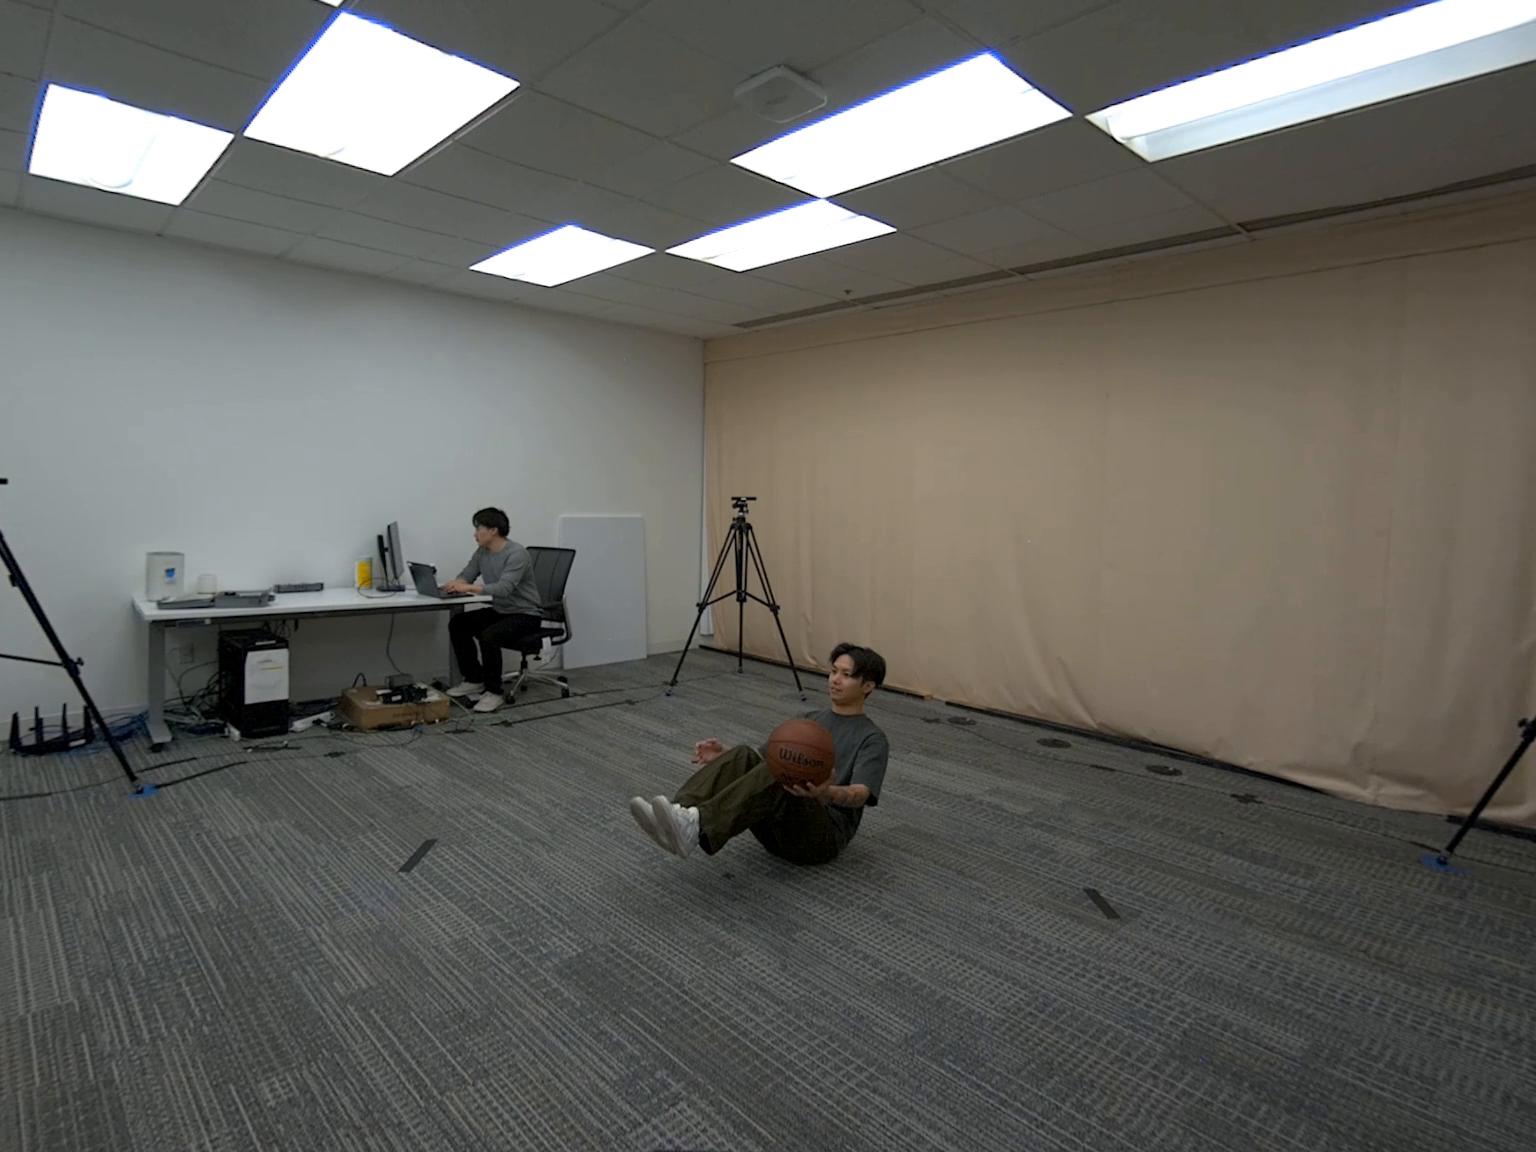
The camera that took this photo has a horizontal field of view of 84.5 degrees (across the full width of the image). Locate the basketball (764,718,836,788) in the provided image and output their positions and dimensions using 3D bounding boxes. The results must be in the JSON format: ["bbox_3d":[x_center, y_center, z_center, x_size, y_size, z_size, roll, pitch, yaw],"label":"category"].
[{"bbox_3d":[0.102,0.613,2.891,0.236,0.235,0.237,1,4,-1],"label":"basketball"}]
